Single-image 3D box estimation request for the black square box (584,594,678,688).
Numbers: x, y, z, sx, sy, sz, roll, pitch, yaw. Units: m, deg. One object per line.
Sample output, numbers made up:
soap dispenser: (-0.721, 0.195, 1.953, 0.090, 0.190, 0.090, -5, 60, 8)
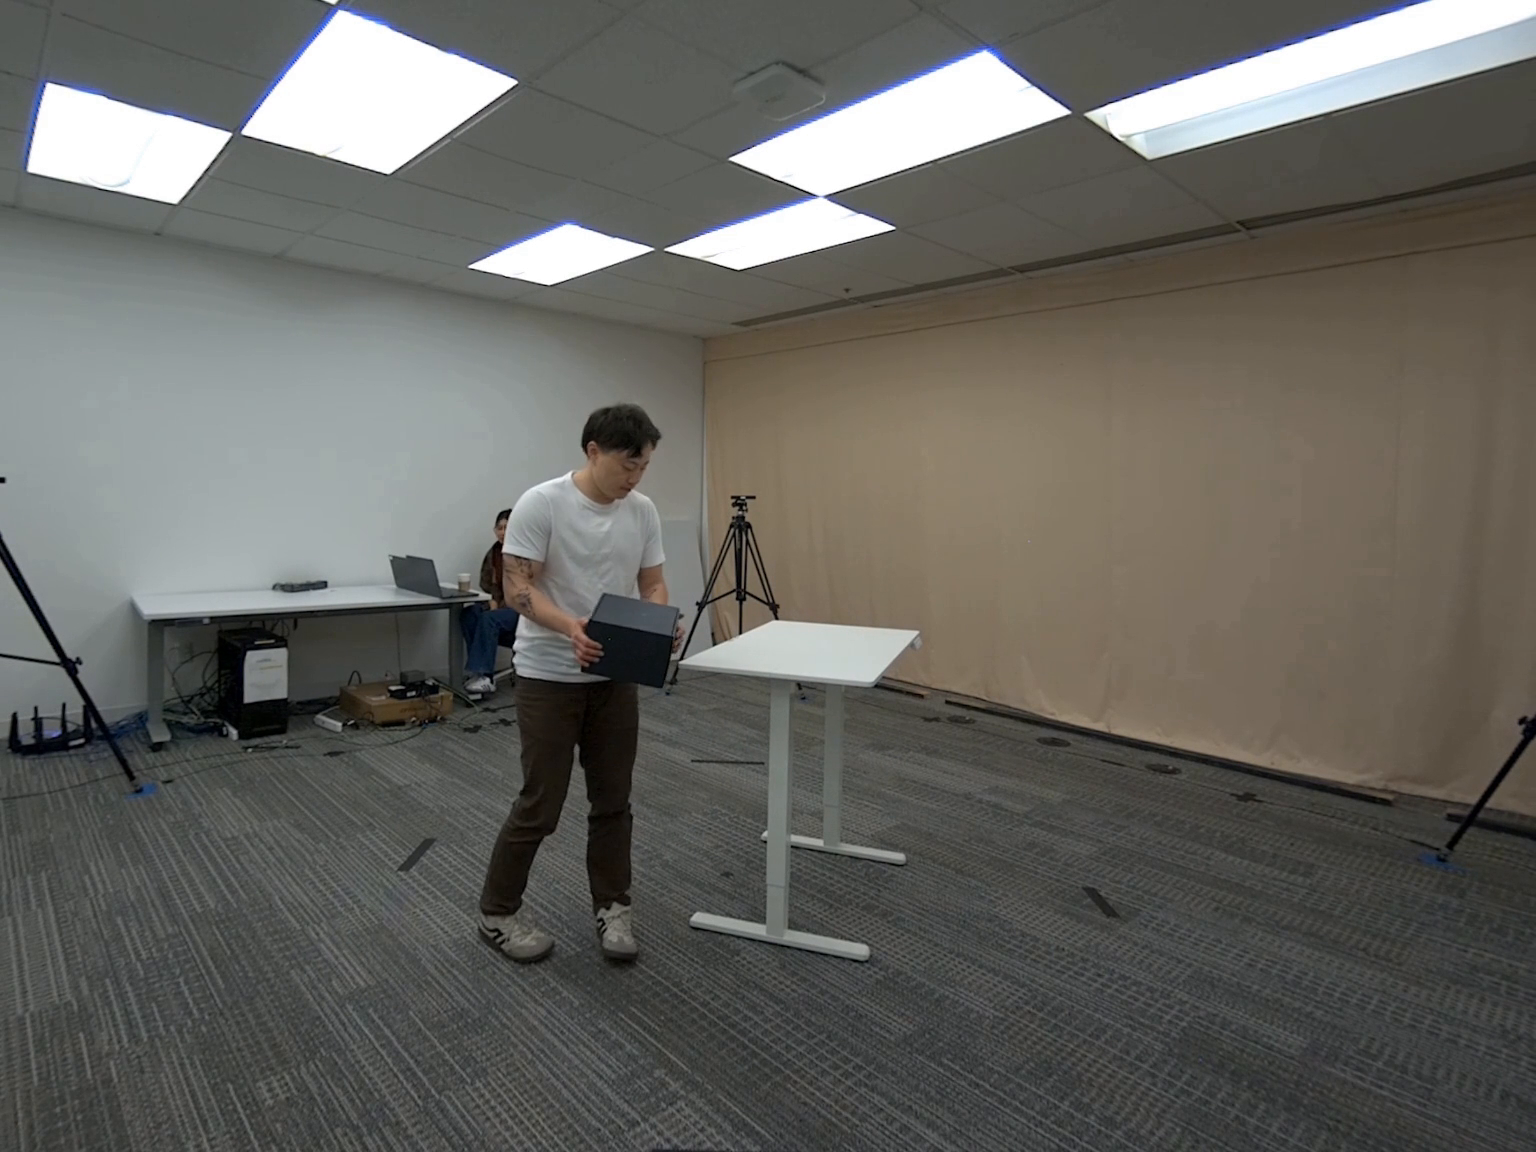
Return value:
black square box: (-0.405, 0.177, 2.311, 0.227, 0.154, 0.219, 12, 16, -4)
